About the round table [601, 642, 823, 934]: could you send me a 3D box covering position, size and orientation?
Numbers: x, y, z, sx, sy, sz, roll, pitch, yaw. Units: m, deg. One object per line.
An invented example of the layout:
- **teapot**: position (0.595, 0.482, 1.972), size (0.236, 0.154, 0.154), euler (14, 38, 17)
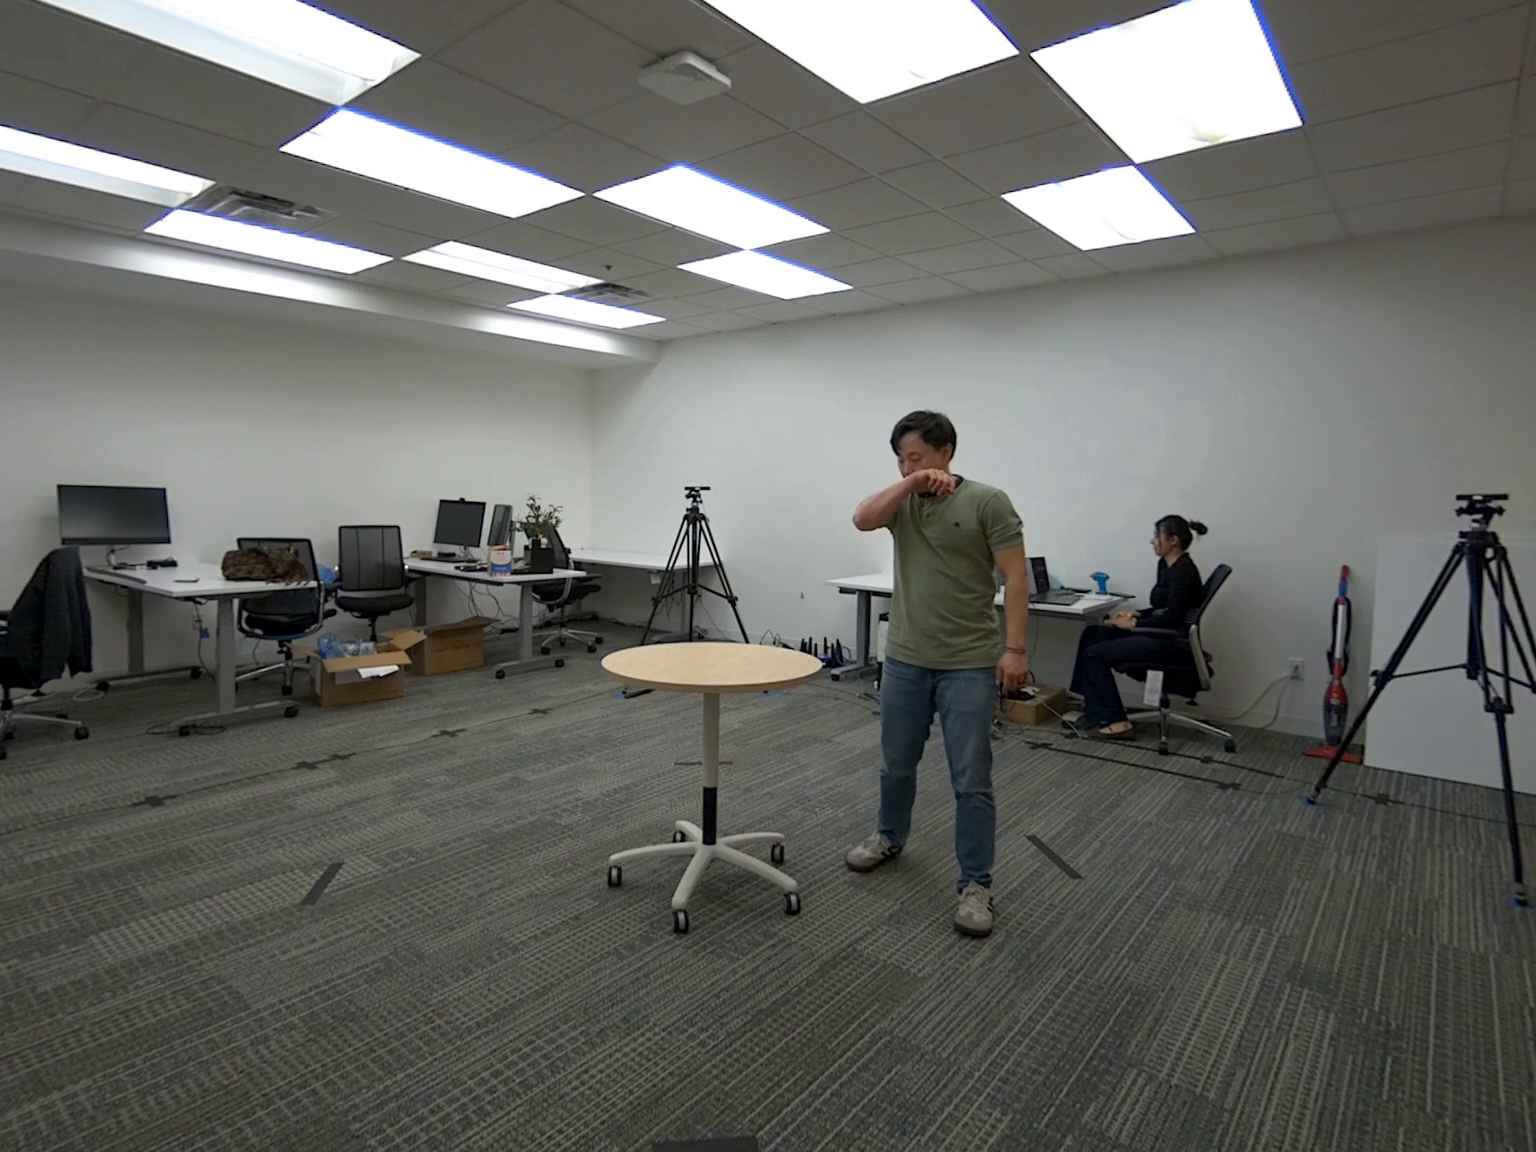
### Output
- **round table**: position (-0.216, 0.688, 2.985), size (0.763, 0.792, 0.767), euler (1, 4, -2)
